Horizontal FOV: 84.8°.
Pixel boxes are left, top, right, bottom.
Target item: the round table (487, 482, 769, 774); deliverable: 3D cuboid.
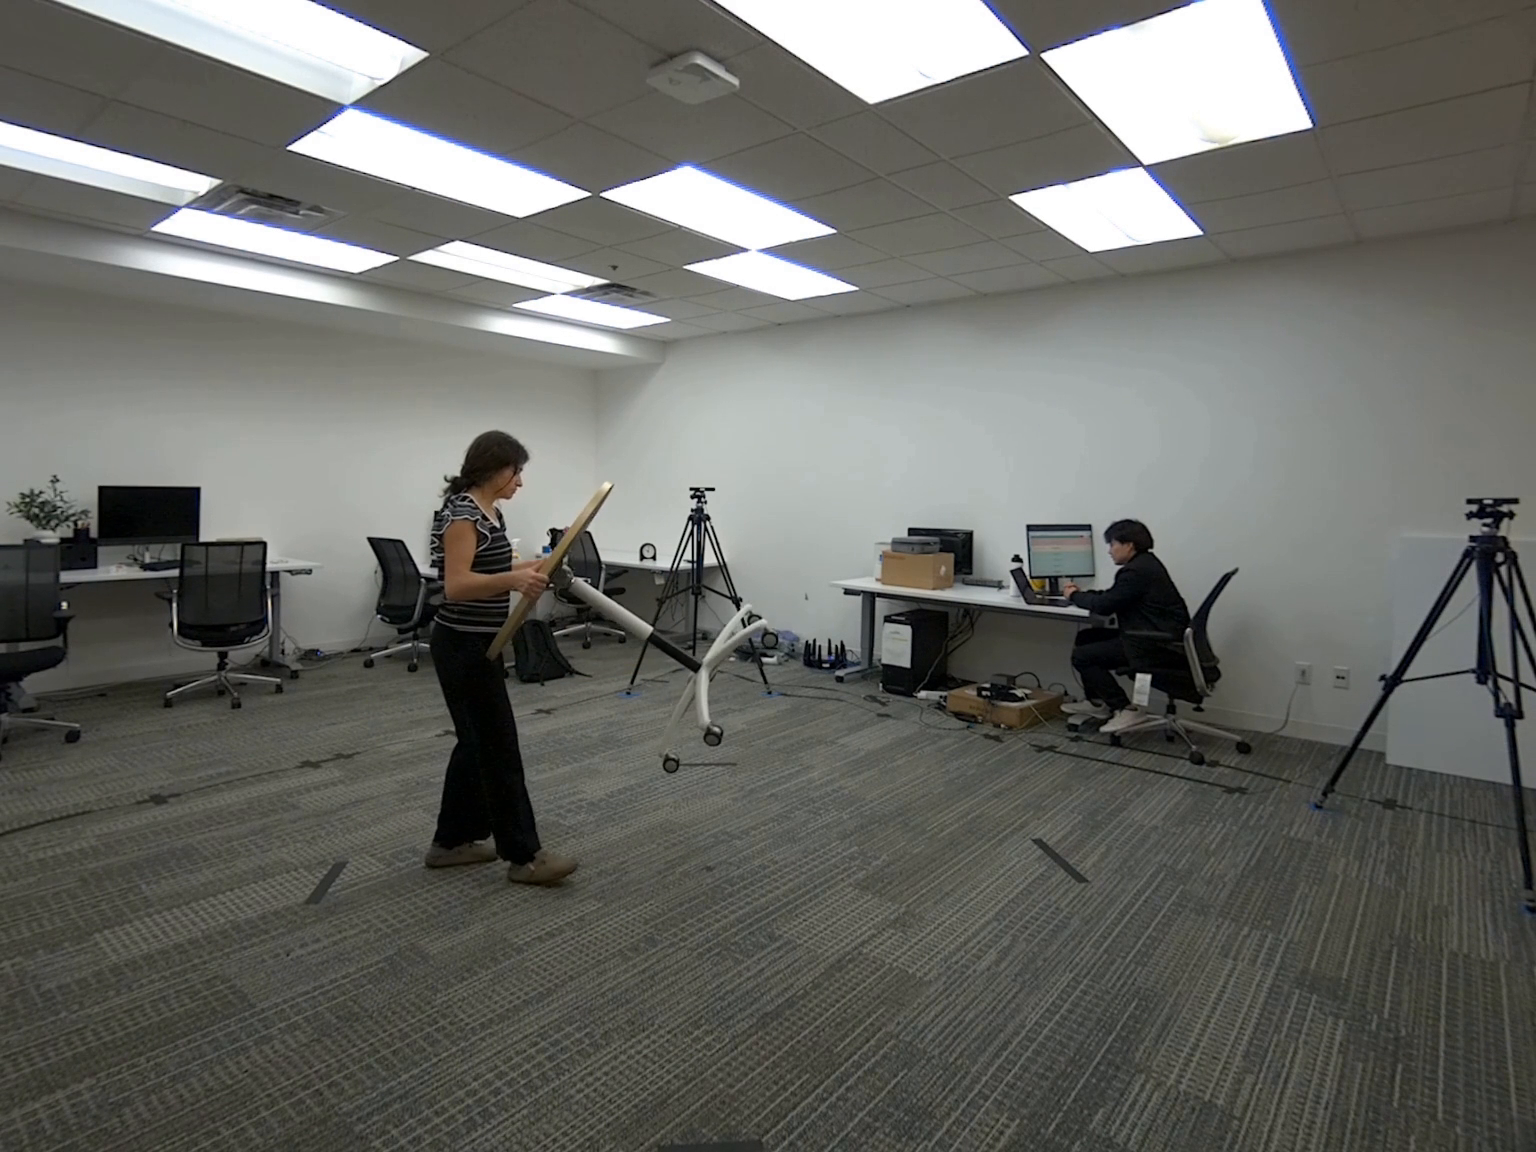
[{"bbox_3d":[-0.472,0.210,3.086,0.787,0.764,0.771,34,0,-7],"label":"round table"}]
